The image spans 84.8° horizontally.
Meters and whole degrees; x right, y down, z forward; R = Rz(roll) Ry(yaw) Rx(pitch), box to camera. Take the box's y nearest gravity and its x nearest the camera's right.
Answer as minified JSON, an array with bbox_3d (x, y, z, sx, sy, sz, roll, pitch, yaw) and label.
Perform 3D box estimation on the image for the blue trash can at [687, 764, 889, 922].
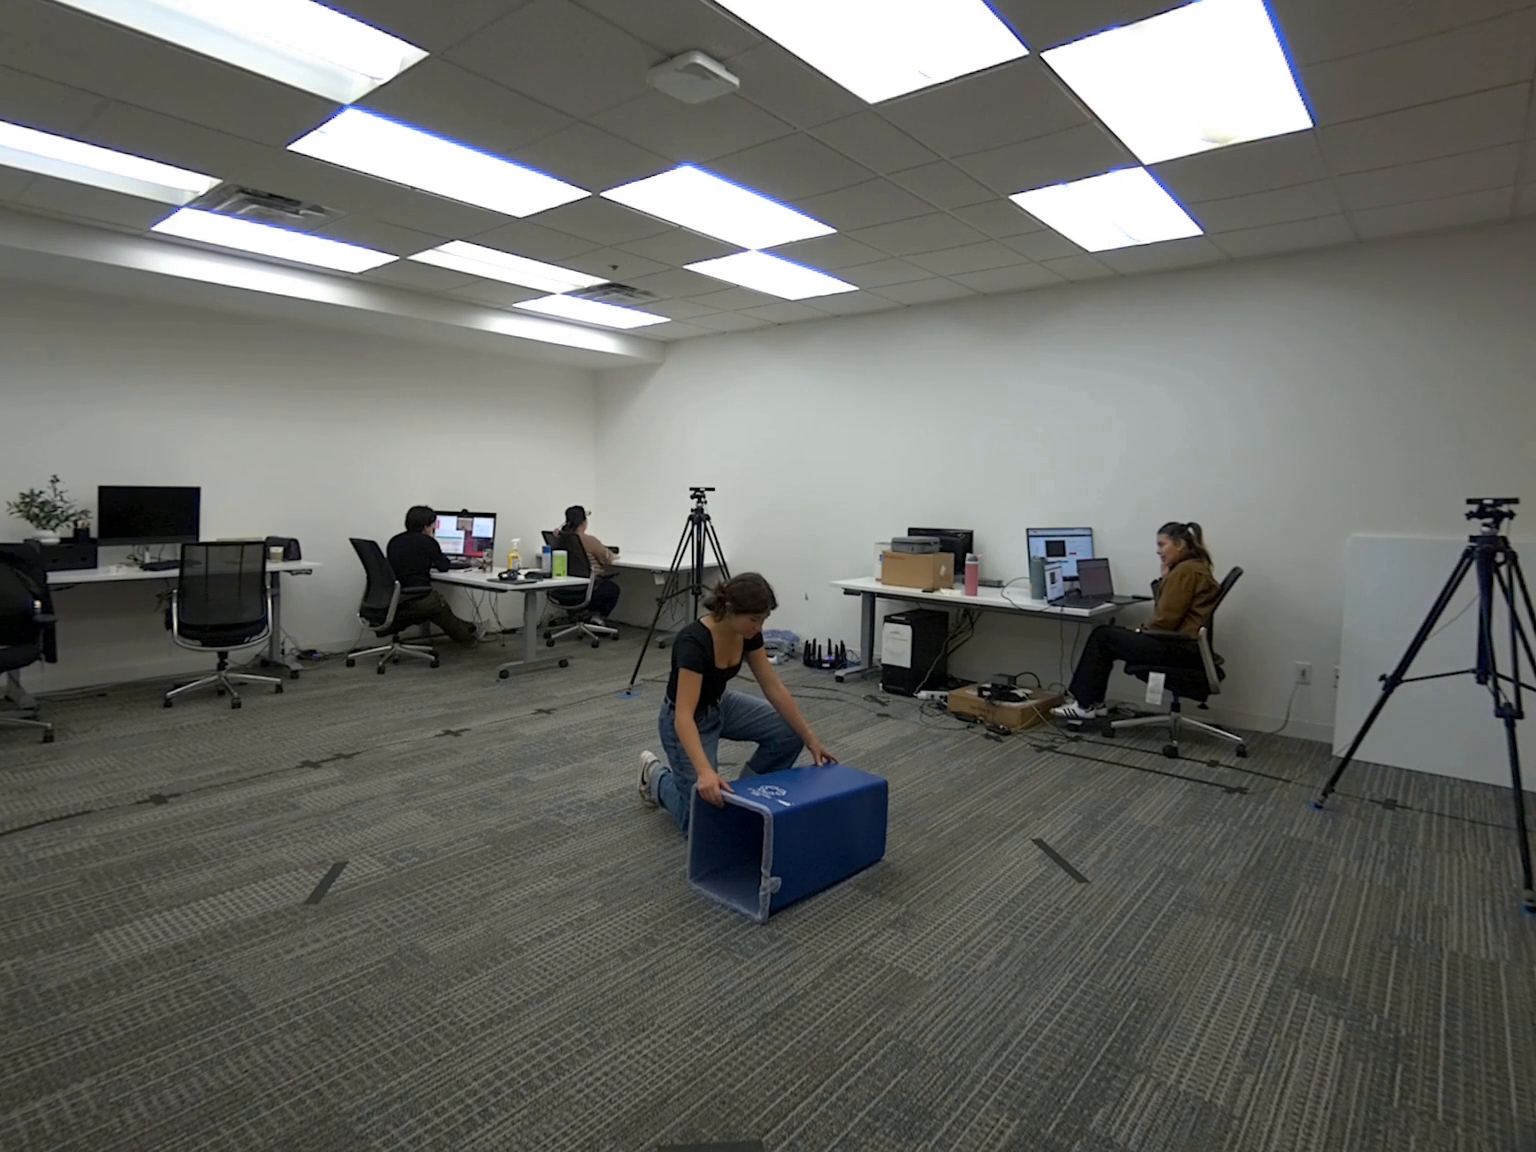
[{"bbox_3d":[0.090,0.911,3.072,0.387,0.378,0.690,4,2,44],"label":"blue trash can"}]
